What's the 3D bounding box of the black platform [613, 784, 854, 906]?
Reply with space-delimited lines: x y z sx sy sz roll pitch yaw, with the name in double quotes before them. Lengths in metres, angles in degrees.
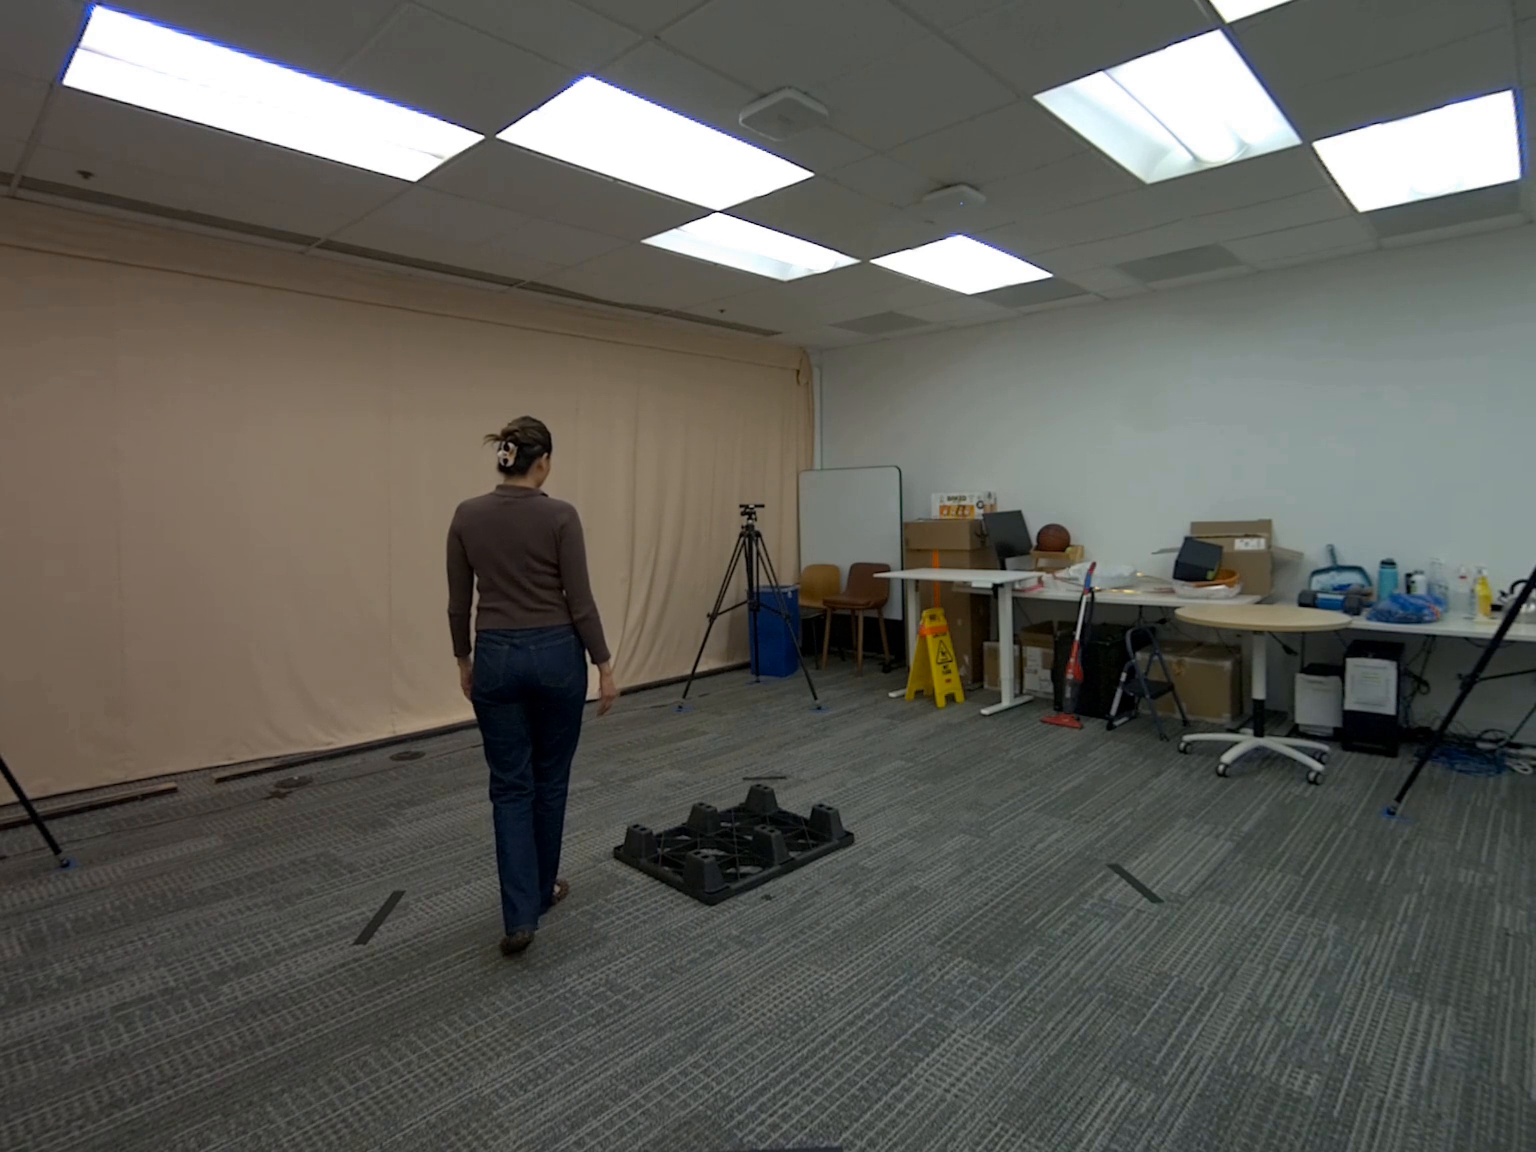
"black platform" -0.130 1.042 3.391 0.781 0.143 0.625 -6 6 -44
